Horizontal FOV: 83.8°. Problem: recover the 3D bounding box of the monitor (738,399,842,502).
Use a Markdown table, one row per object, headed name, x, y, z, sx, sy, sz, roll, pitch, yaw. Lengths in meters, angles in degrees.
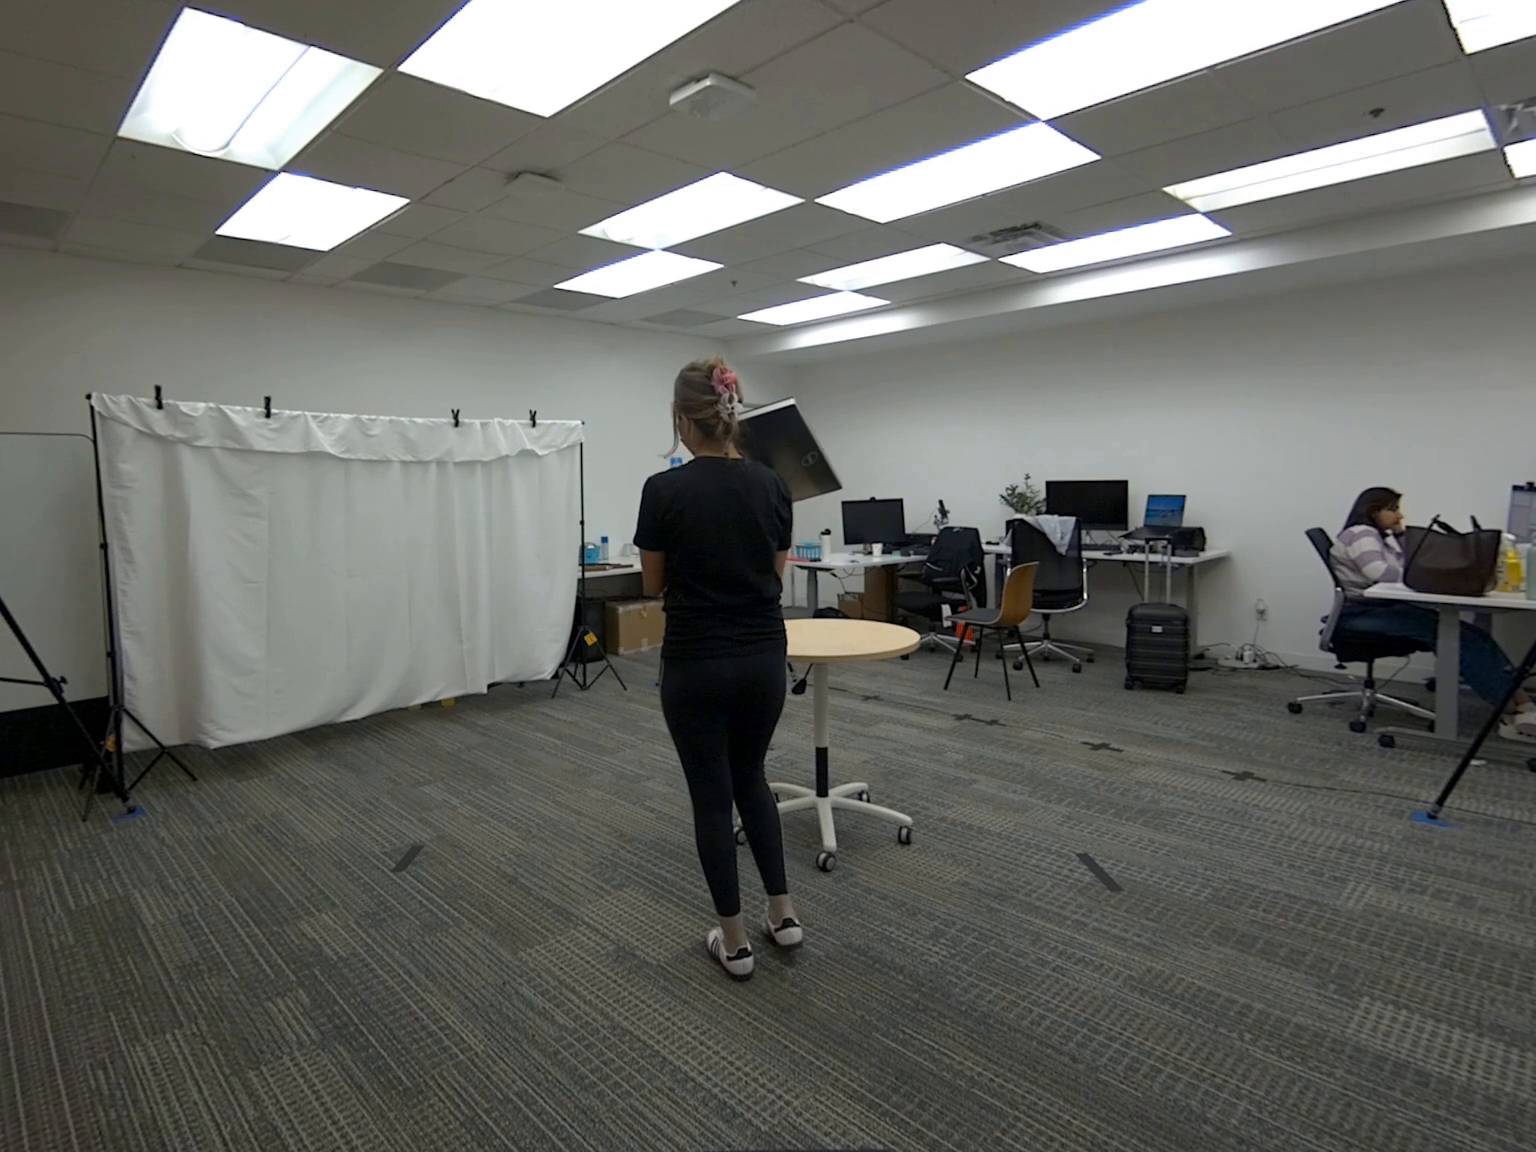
| name | x | y | z | sx | sy | sz | roll | pitch | yaw |
| --- | --- | --- | --- | --- | --- | --- | --- | --- | --- |
| monitor | -0.060 | -0.295 | 2.722 | 0.525 | 0.193 | 0.521 | -27 | -26 | 10 |
